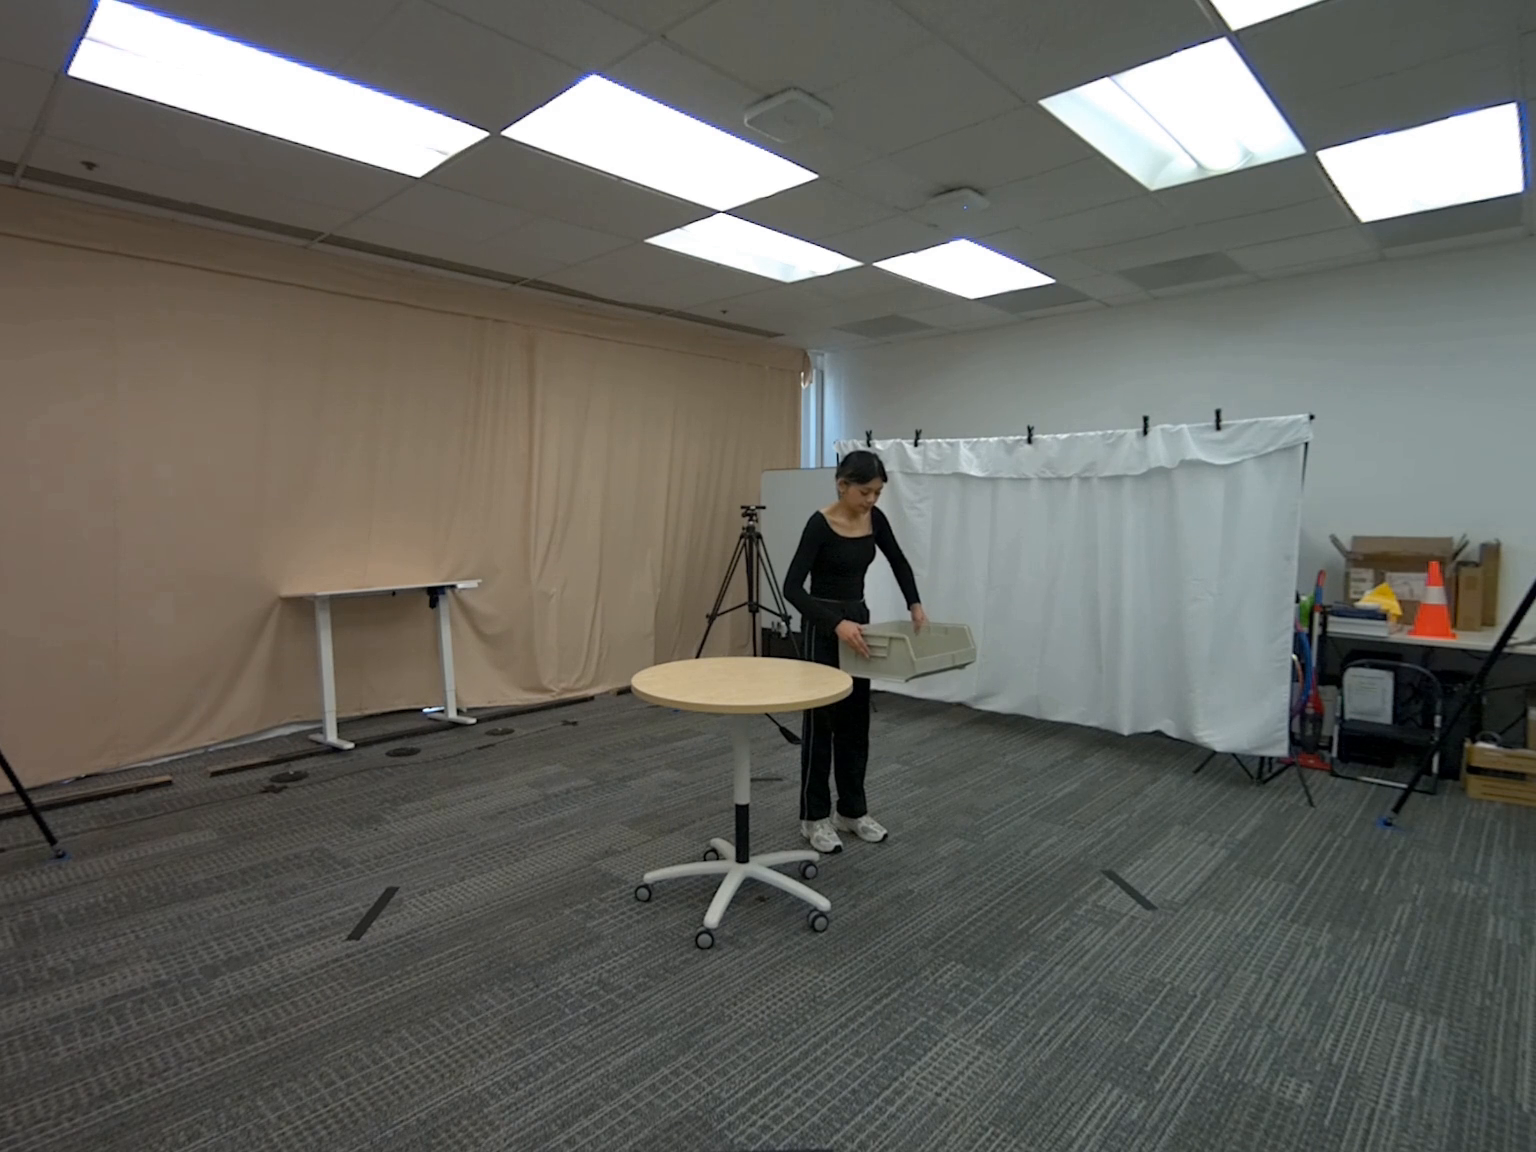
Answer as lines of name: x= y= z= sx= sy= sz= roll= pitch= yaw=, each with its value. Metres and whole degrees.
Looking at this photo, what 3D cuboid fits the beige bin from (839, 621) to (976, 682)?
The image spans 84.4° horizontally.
beige bin: x=0.549 y=0.288 z=3.299 sx=0.409 sy=0.189 sz=0.389 roll=-5 pitch=3 yaw=-44
